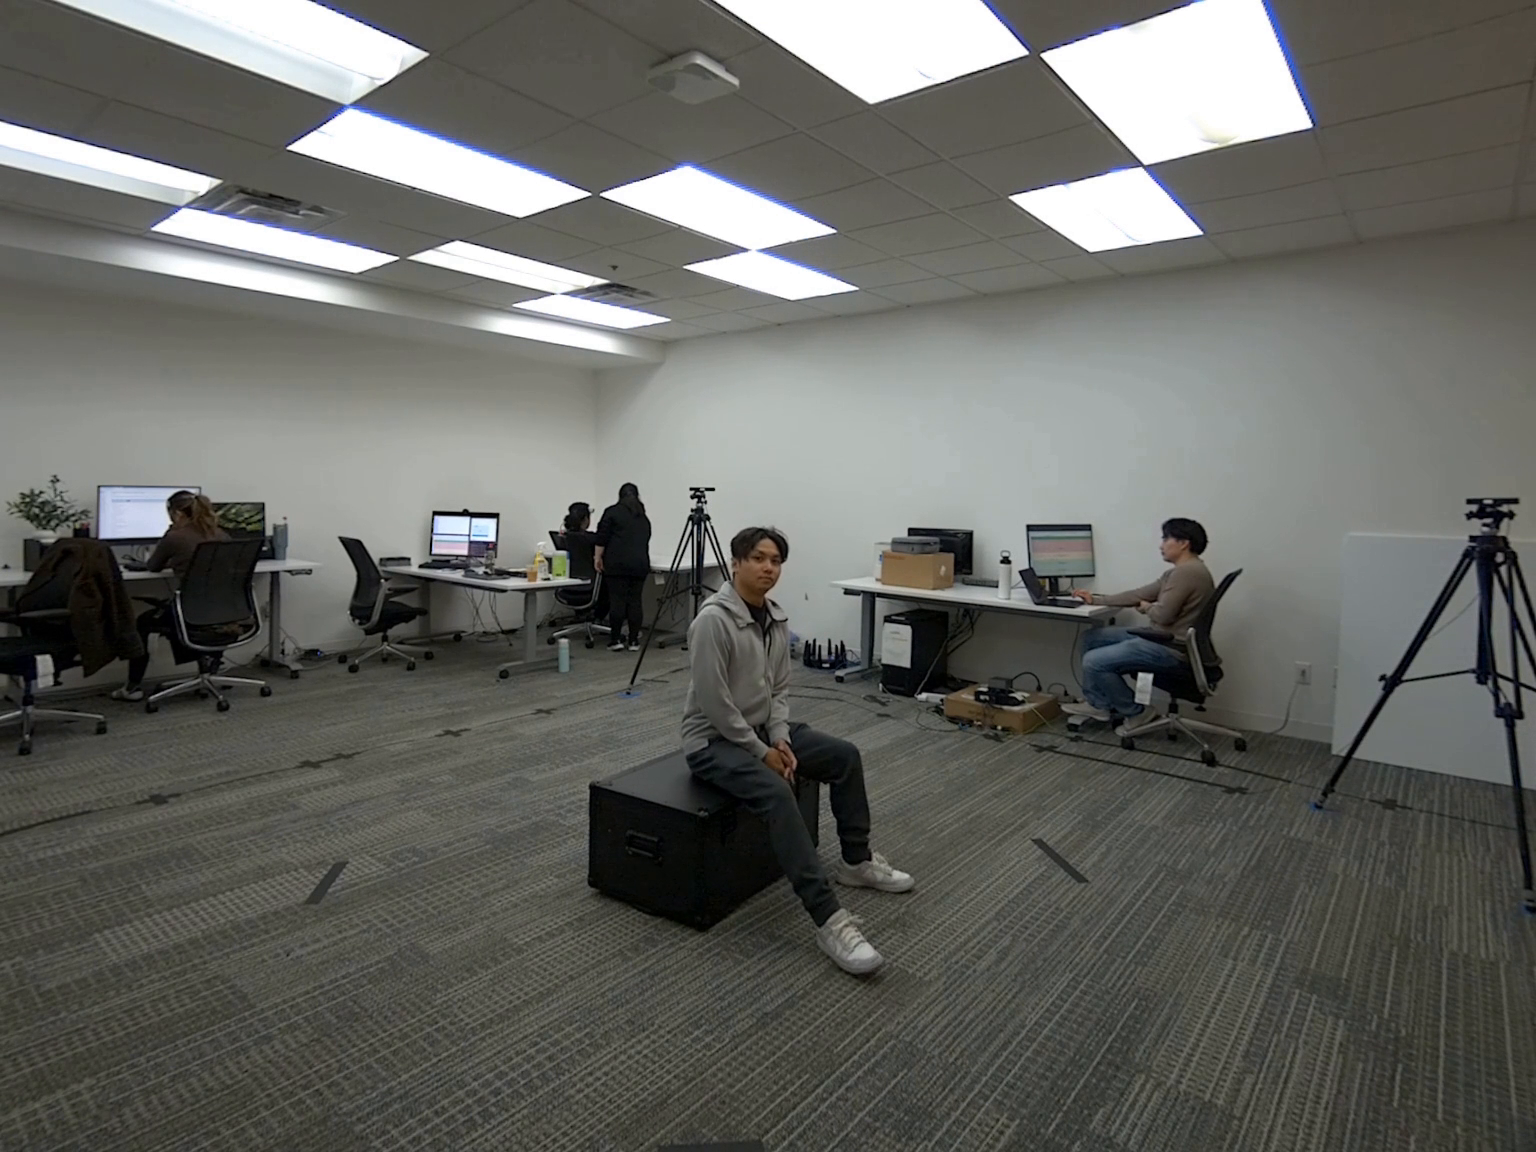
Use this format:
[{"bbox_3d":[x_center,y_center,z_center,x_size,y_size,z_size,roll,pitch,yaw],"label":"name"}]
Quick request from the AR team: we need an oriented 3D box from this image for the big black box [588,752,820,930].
[{"bbox_3d":[-0.236,0.888,3.059,0.537,0.395,0.838,4,5,32],"label":"big black box"}]
